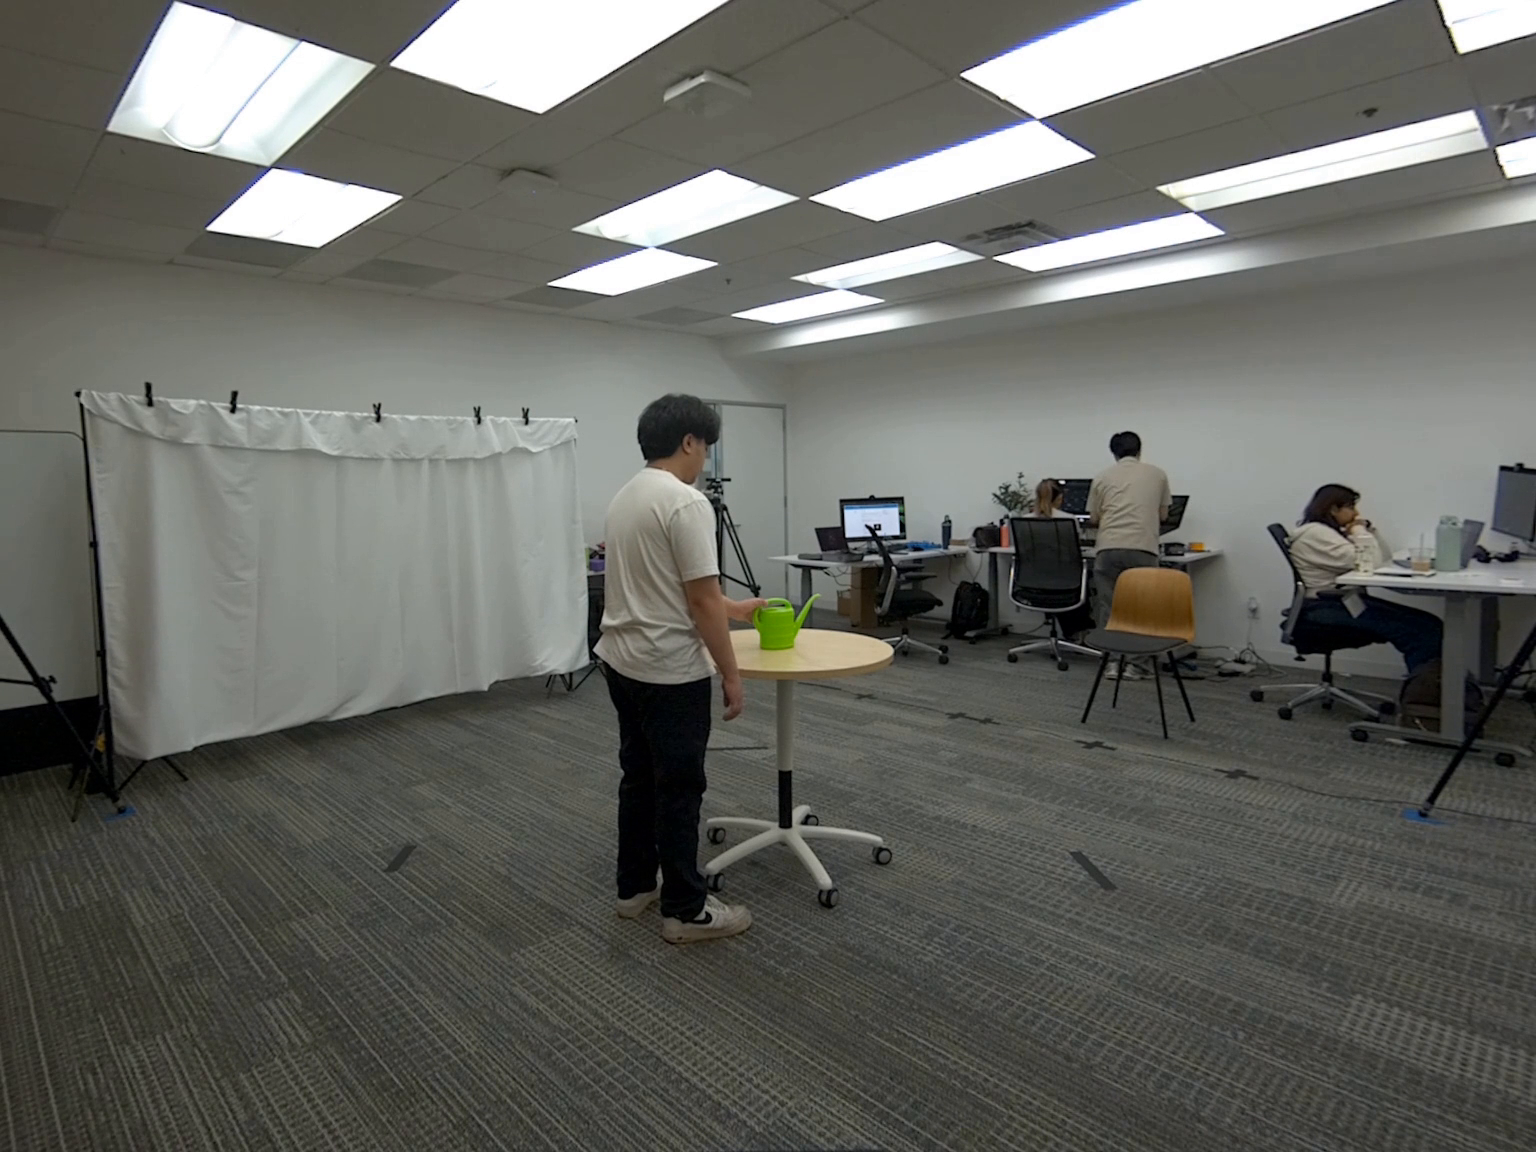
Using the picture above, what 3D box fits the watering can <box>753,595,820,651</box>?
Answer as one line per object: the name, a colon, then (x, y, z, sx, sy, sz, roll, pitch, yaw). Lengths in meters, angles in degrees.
watering can: (0.078, 0.167, 3.052, 0.275, 0.176, 0.100, -3, 7, -13)
